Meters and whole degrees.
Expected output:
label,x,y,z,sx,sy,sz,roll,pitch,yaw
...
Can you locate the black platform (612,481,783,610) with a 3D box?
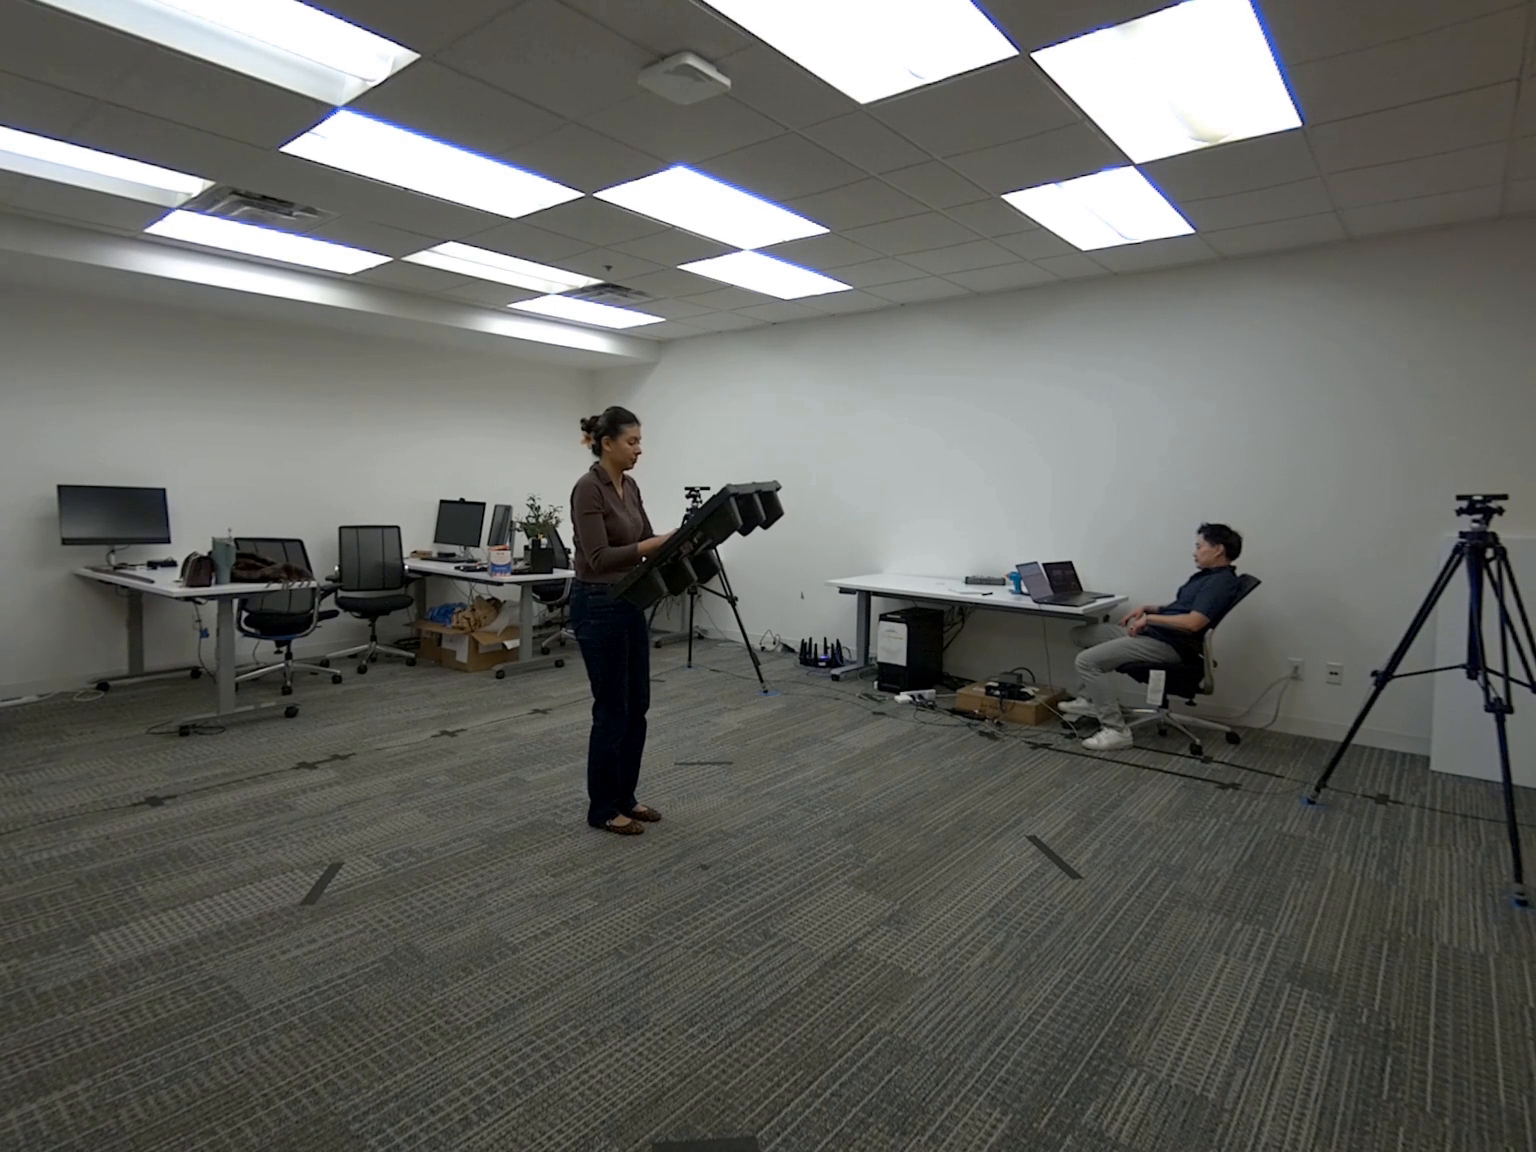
label,x,y,z,sx,sy,sz,roll,pitch,yaw
black platform,-0.234,-0.123,3.321,0.606,0.144,0.796,-41,-4,16
